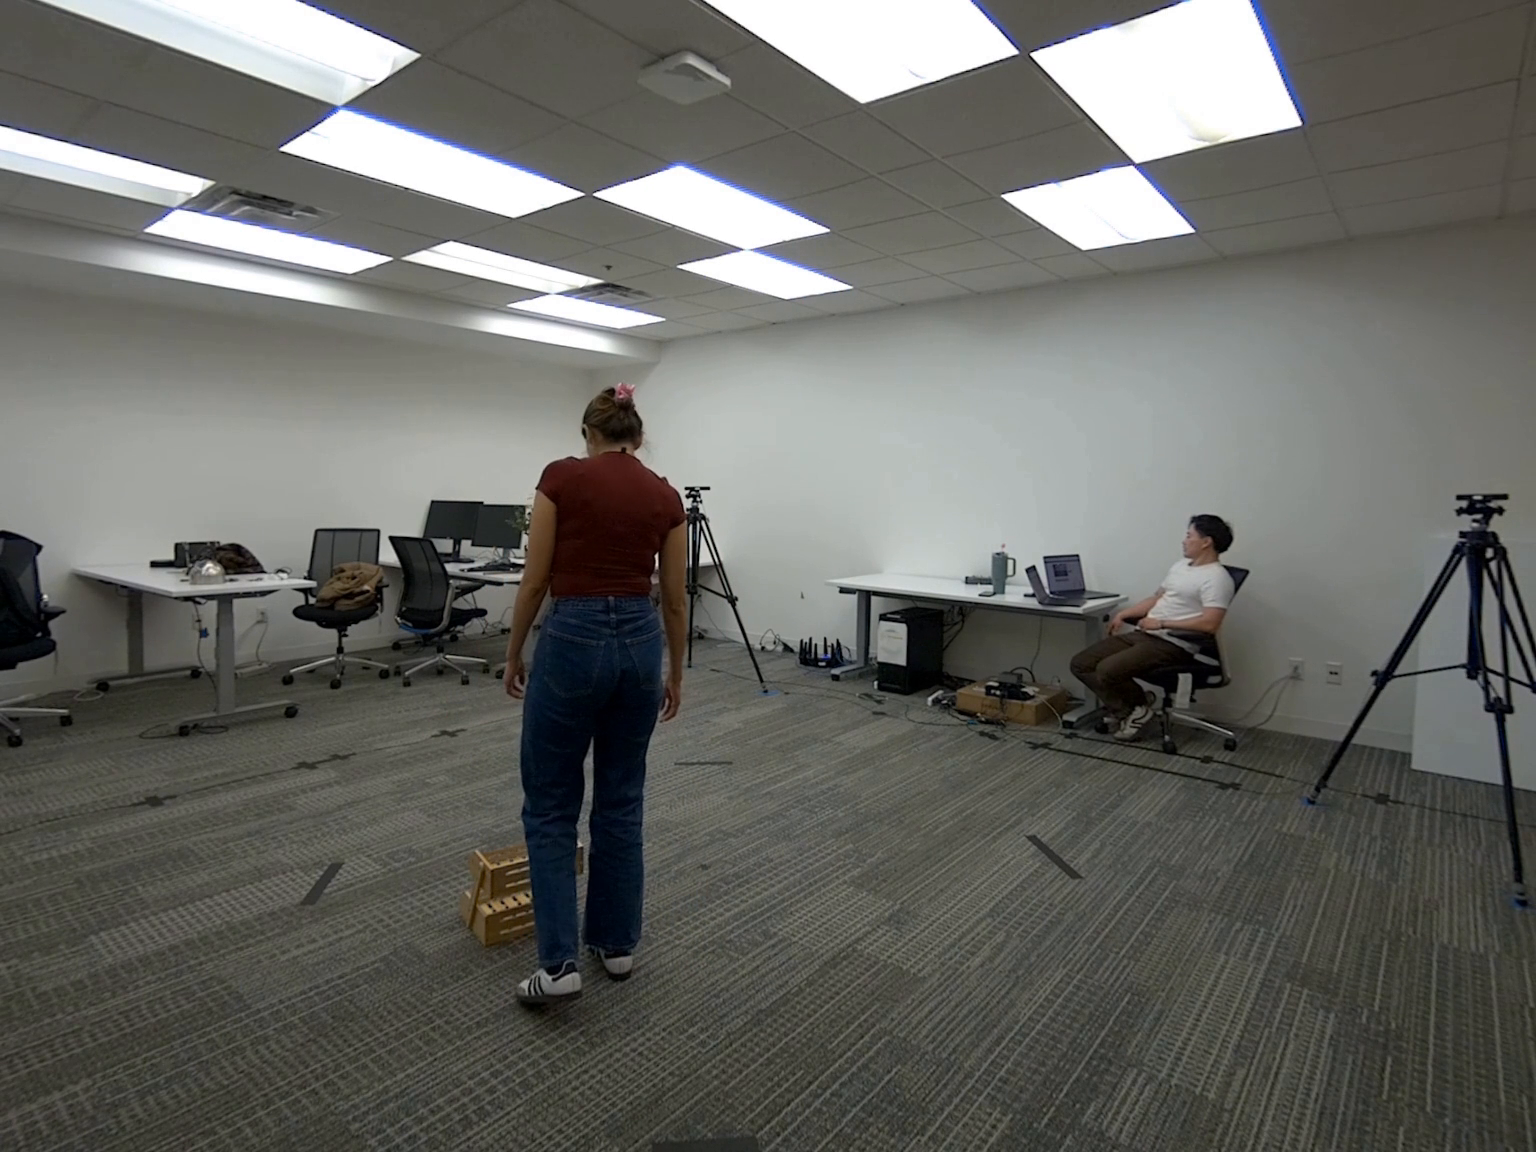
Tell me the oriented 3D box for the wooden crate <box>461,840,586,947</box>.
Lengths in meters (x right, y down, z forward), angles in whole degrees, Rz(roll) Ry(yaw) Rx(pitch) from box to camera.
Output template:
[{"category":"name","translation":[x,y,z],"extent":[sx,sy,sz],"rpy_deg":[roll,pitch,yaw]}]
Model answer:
[{"category":"wooden crate","translation":[-0.805,0.960,2.716],"extent":[0.315,0.272,0.312],"rpy_deg":[-3,7,-37]}]
